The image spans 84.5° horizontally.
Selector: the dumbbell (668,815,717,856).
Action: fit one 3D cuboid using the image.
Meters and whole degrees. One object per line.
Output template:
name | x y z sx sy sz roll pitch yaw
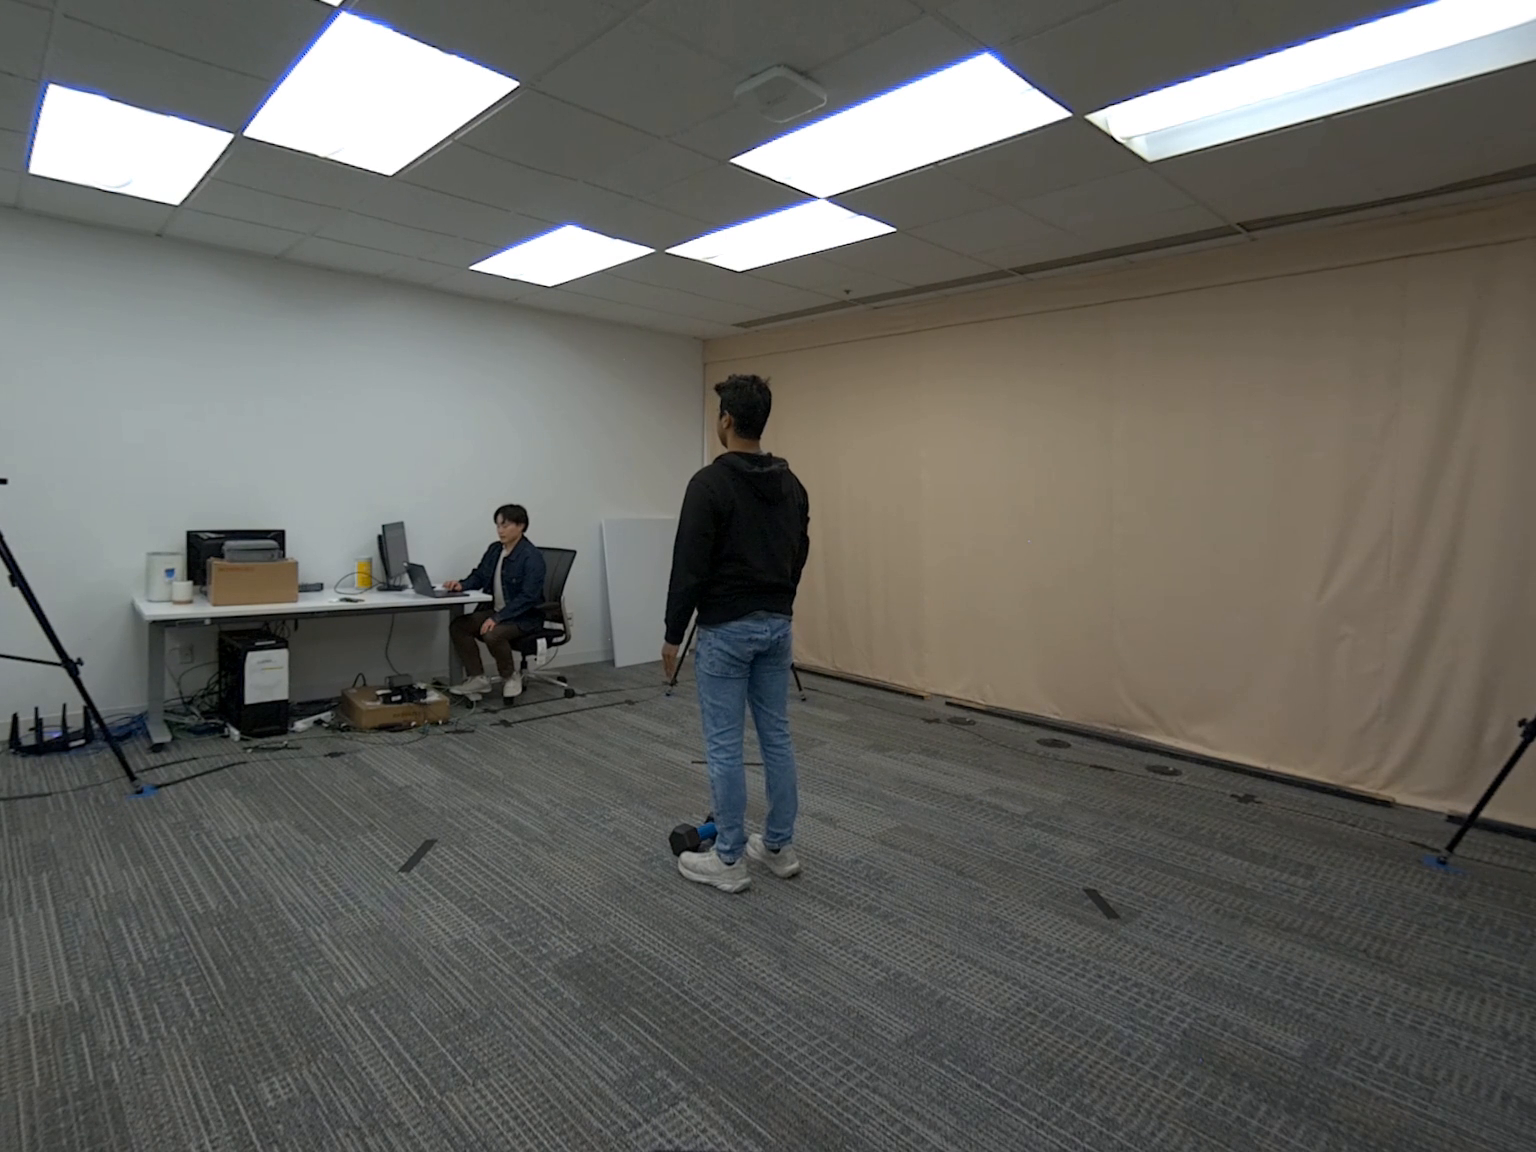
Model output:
dumbbell | -0.266 1.023 3.355 0.109 0.125 0.287 -32 -17 35
